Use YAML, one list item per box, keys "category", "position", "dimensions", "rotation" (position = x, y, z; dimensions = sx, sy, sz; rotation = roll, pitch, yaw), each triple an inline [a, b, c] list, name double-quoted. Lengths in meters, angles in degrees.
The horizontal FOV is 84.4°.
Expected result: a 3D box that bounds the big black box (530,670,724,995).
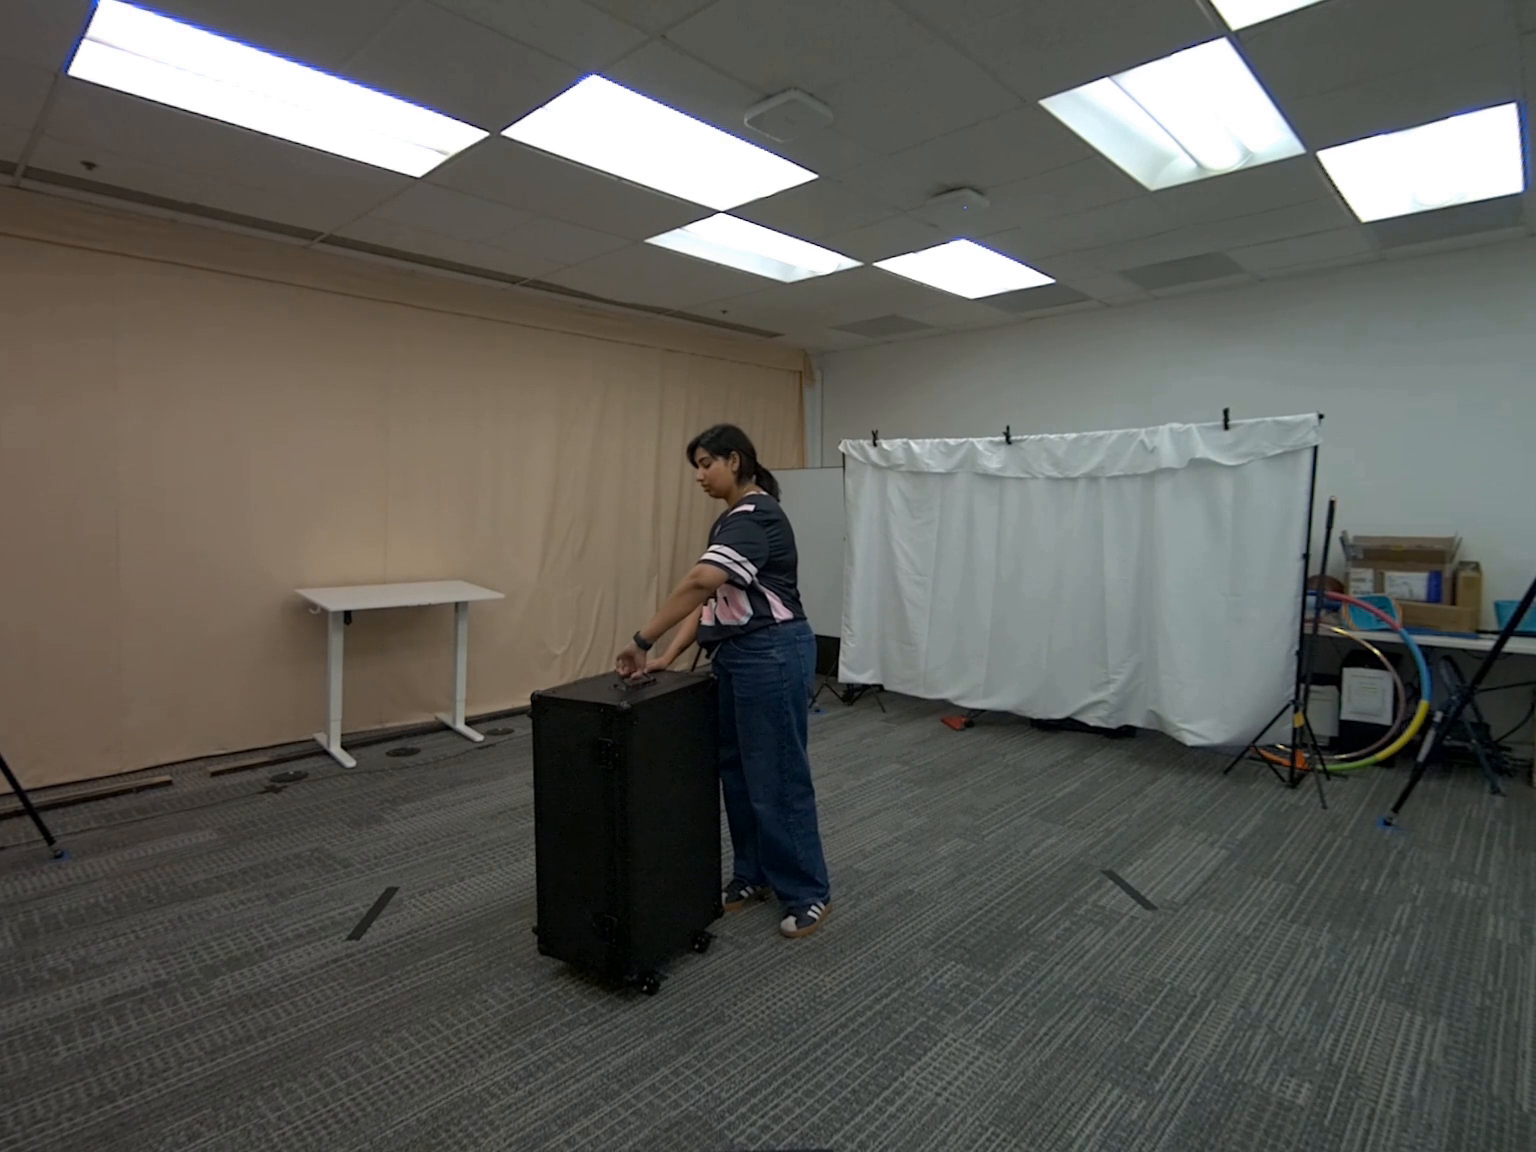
- category: "big black box"
  position: [-0.431, 0.756, 2.587]
  dimensions: [0.396, 0.867, 0.510]
  rotation: [0, 2, 28]
